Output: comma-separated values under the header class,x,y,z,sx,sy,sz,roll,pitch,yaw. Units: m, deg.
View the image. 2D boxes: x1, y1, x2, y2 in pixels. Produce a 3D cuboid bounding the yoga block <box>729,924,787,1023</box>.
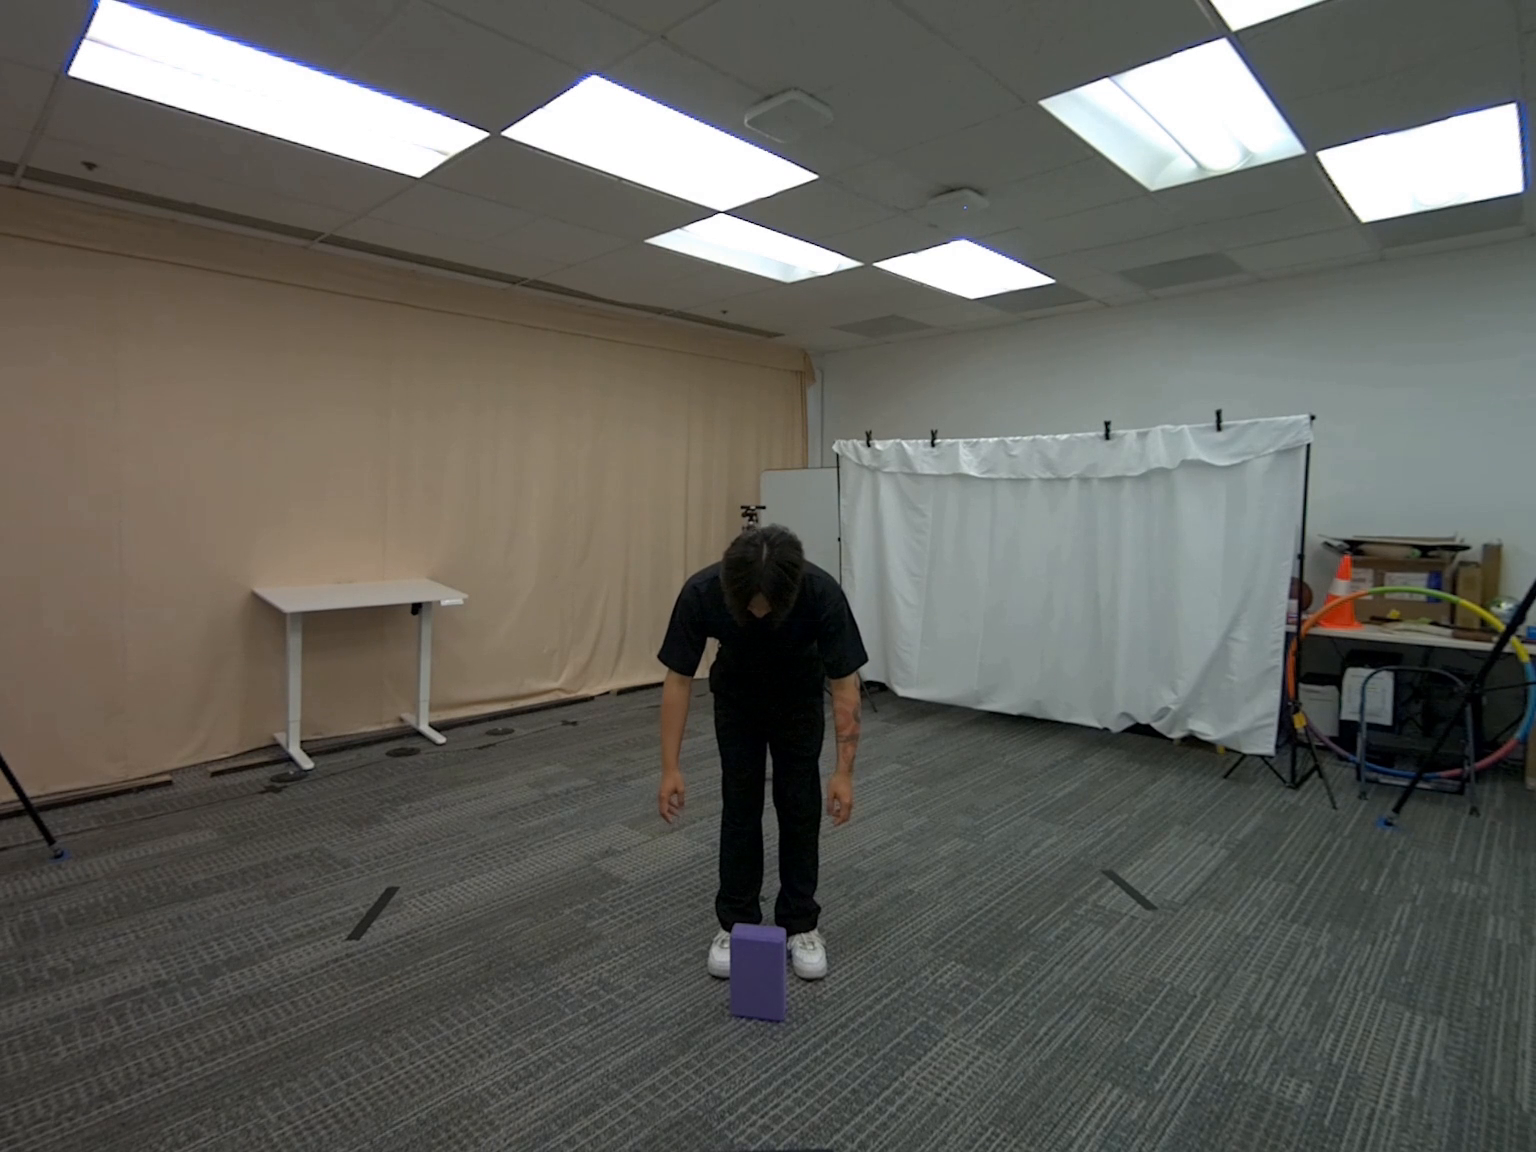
class,x,y,z,sx,sy,sz,roll,pitch,yaw
yoga block,-0.022,1.082,2.311,0.151,0.229,0.076,1,4,10
